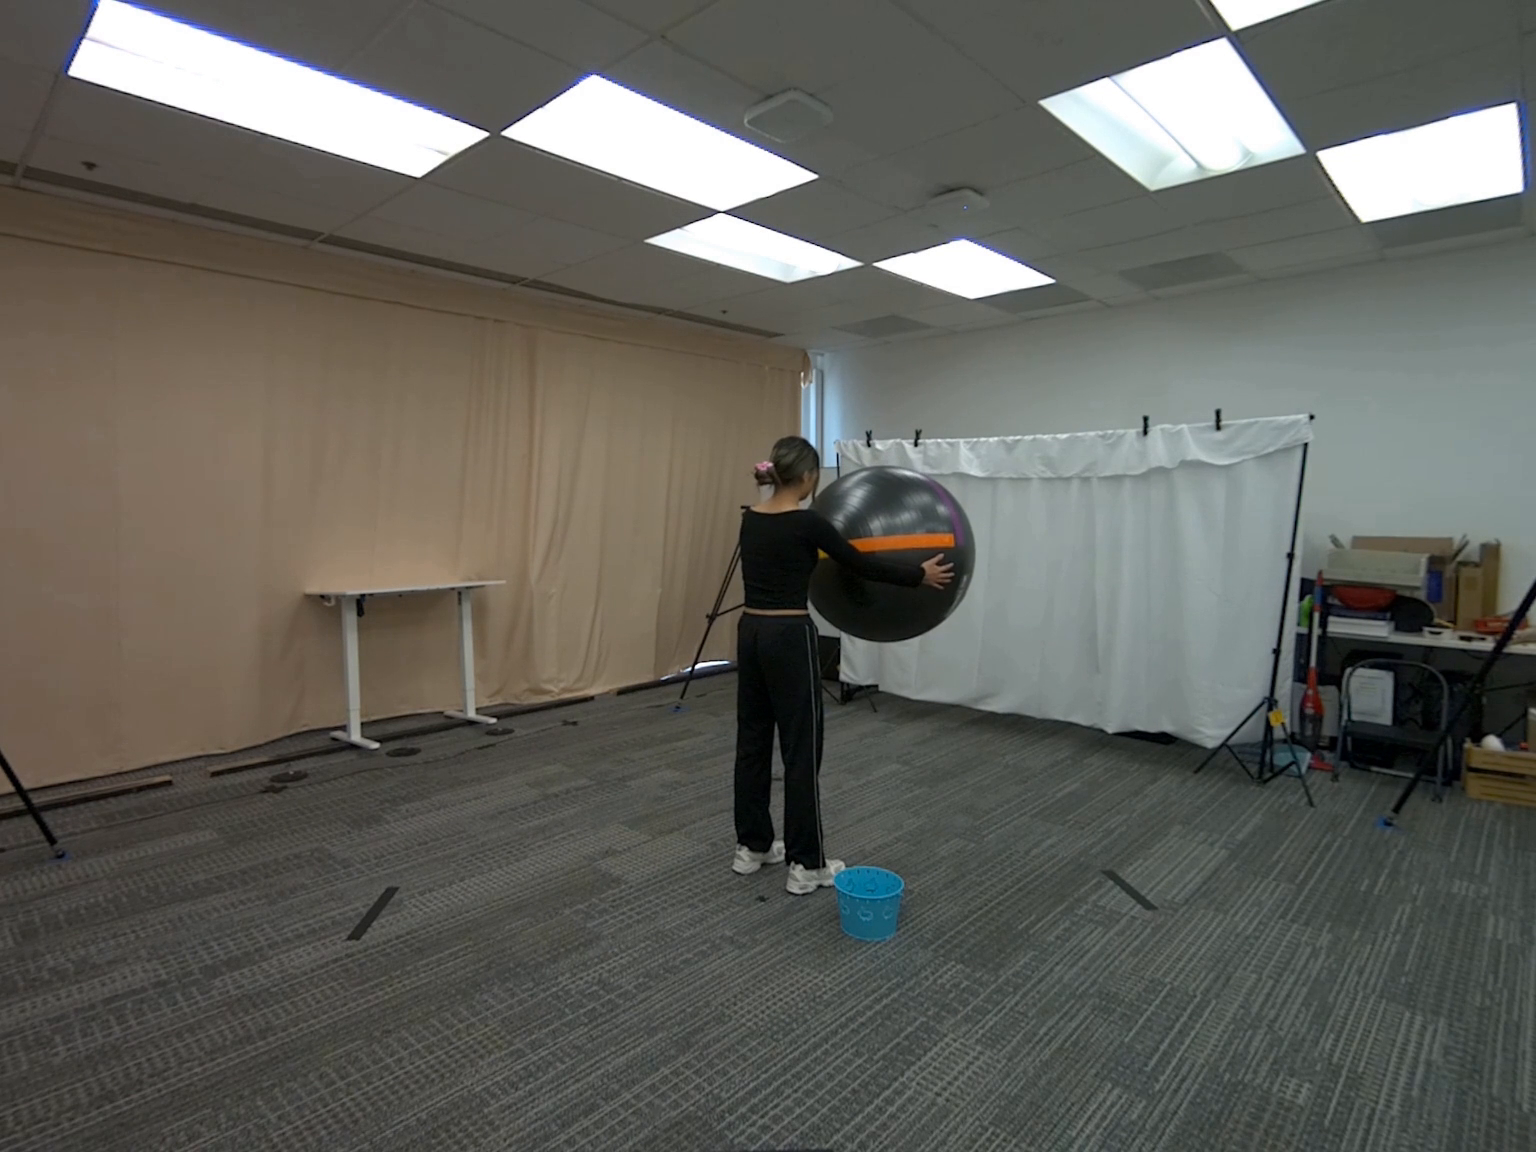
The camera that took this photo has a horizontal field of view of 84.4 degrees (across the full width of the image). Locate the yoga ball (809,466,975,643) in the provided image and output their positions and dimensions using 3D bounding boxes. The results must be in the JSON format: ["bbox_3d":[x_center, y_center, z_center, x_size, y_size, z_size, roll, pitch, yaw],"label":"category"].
[{"bbox_3d":[0.508,-0.091,3.633,0.757,0.756,0.760,0,4,-2],"label":"yoga ball"}]
